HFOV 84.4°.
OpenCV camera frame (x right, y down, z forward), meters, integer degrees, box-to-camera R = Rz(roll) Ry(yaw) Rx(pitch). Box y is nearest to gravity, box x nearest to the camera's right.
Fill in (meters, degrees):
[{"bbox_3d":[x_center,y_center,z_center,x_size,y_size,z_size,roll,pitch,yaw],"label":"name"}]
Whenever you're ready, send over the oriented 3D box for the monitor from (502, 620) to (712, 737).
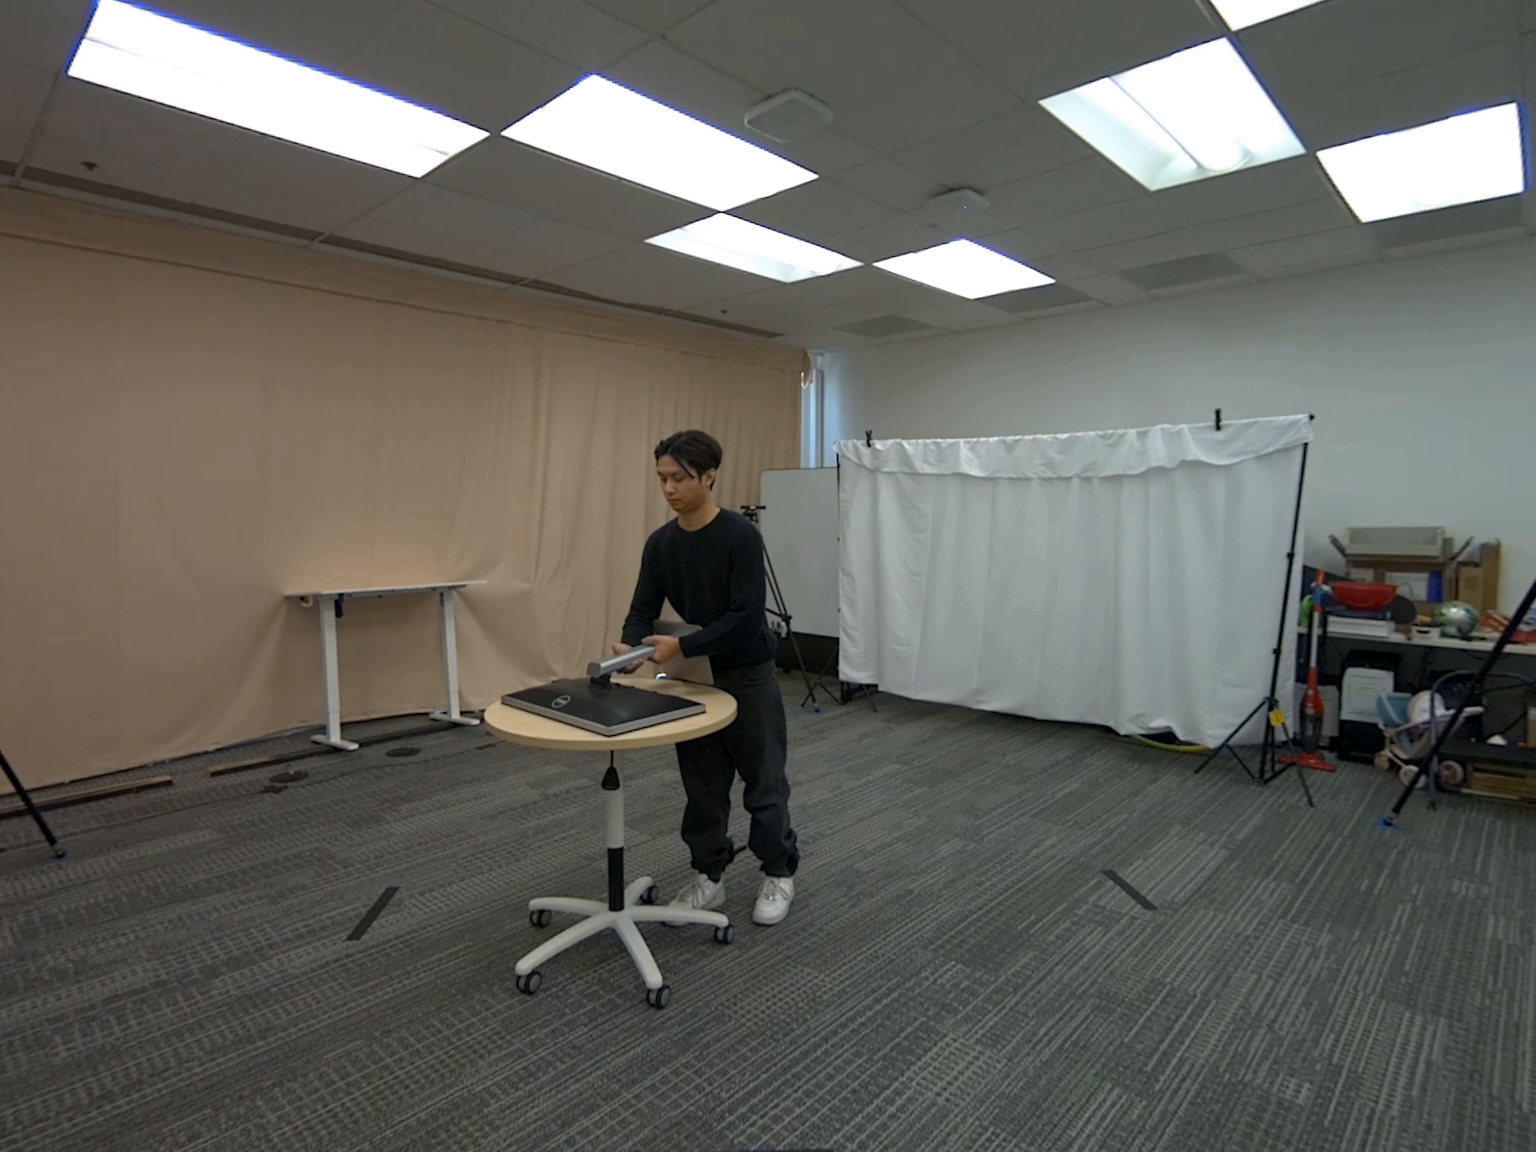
[{"bbox_3d":[-0.451,0.325,2.609,0.556,0.185,0.511,1,18,44],"label":"monitor"}]
